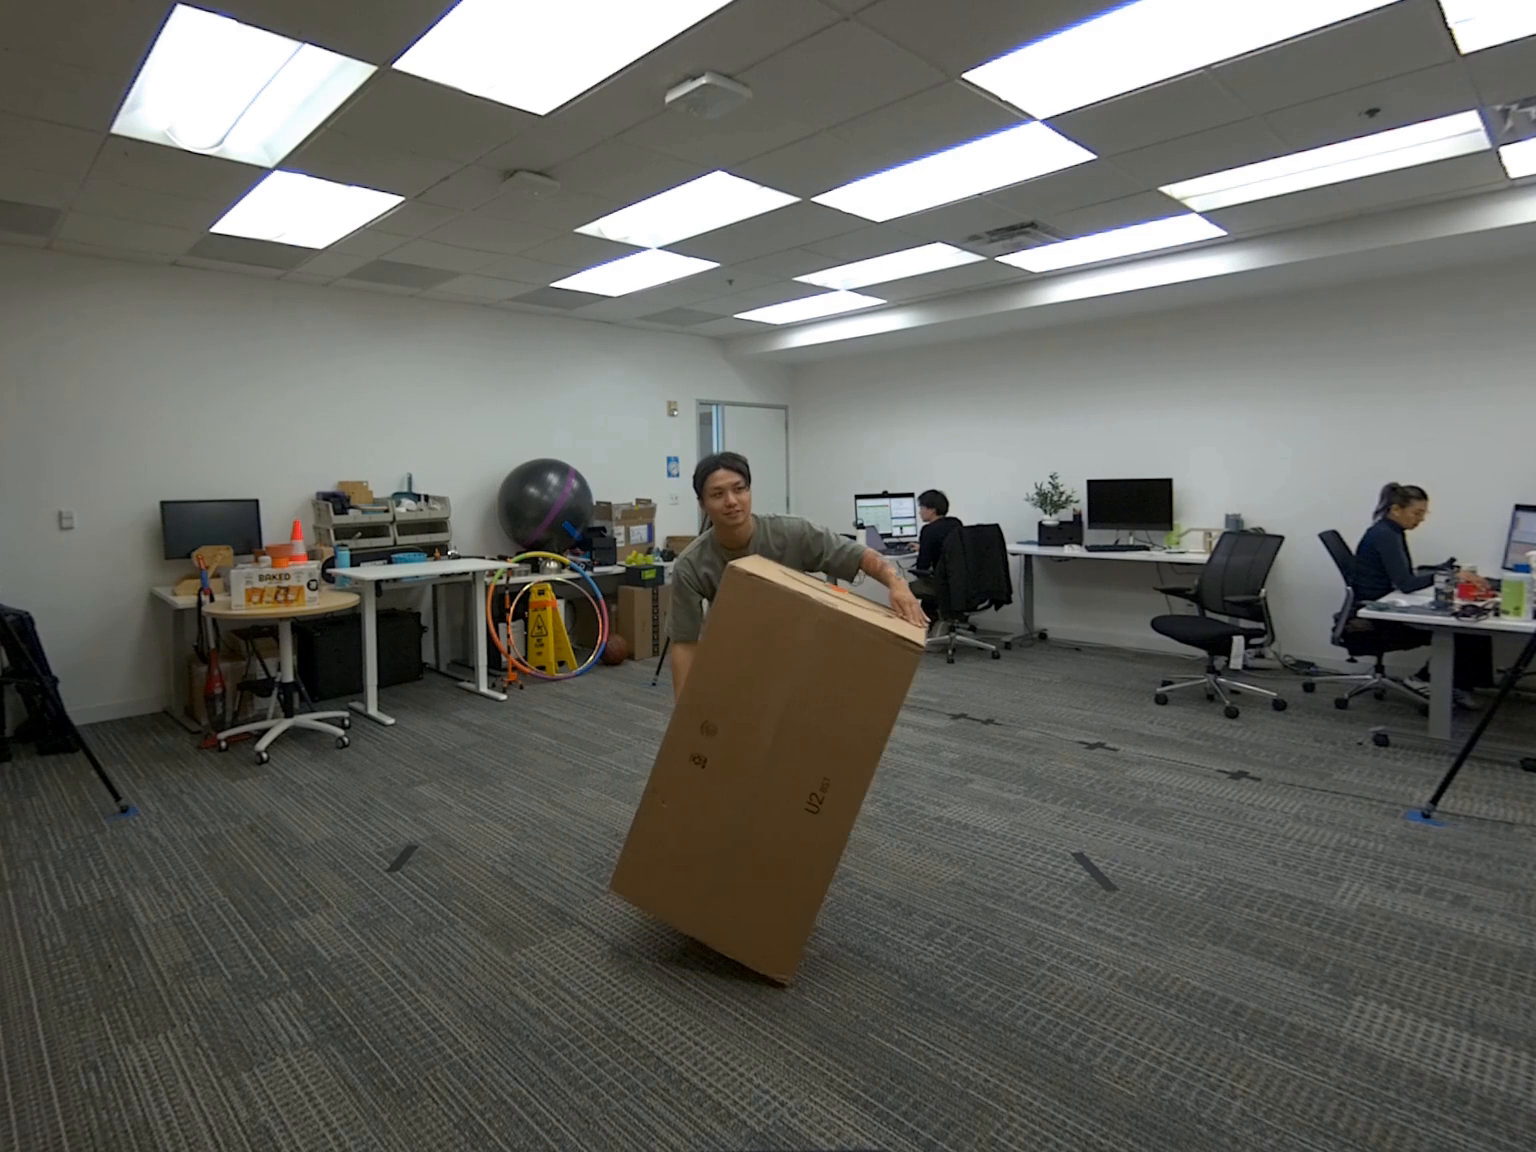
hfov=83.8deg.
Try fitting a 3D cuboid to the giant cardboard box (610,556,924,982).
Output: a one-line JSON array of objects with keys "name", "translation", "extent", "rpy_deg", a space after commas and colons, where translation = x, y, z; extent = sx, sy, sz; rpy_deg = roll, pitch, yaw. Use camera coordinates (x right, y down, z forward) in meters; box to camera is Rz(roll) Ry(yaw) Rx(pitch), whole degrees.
[{"name": "giant cardboard box", "translation": [0.012, 0.532, 2.538], "extent": [0.586, 1.022, 0.422], "rpy_deg": [21, 7, 10]}]
